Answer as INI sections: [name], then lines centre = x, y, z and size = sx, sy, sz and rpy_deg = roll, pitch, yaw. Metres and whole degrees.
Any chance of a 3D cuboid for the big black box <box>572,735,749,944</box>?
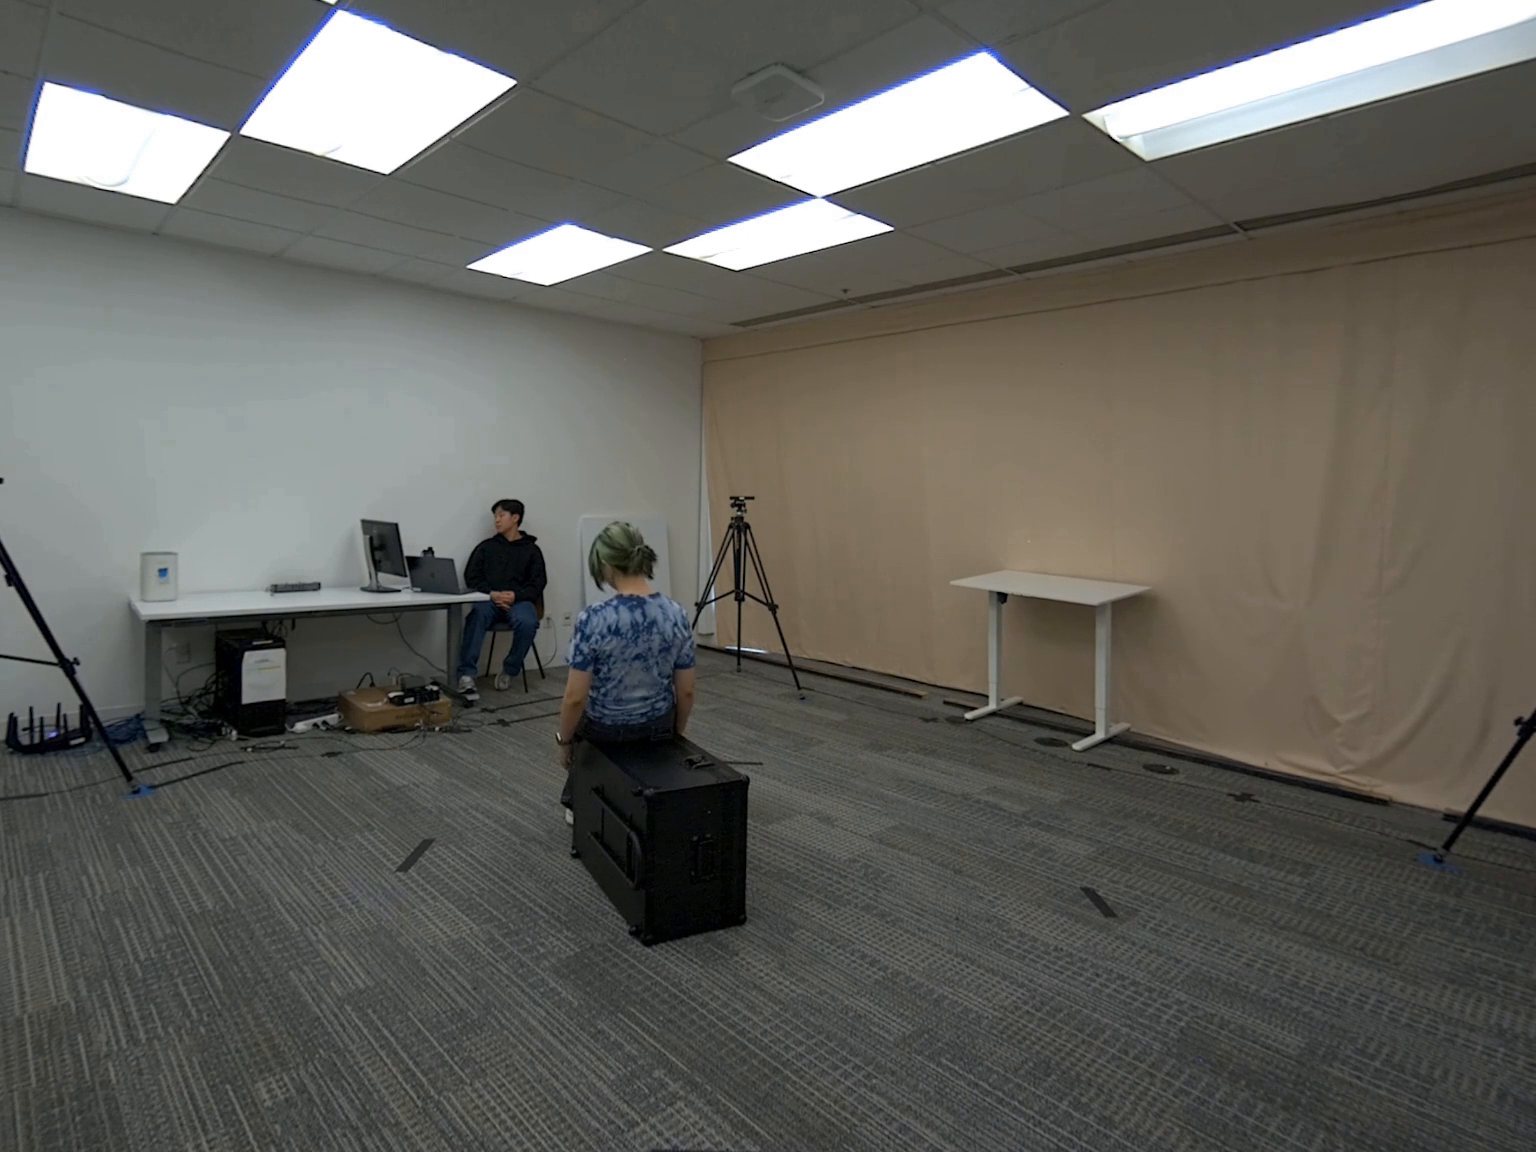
[big black box]
centre = -0.439, 0.865, 3.017
size = 0.389, 0.520, 0.880
rpy_deg = 0, 4, -27
